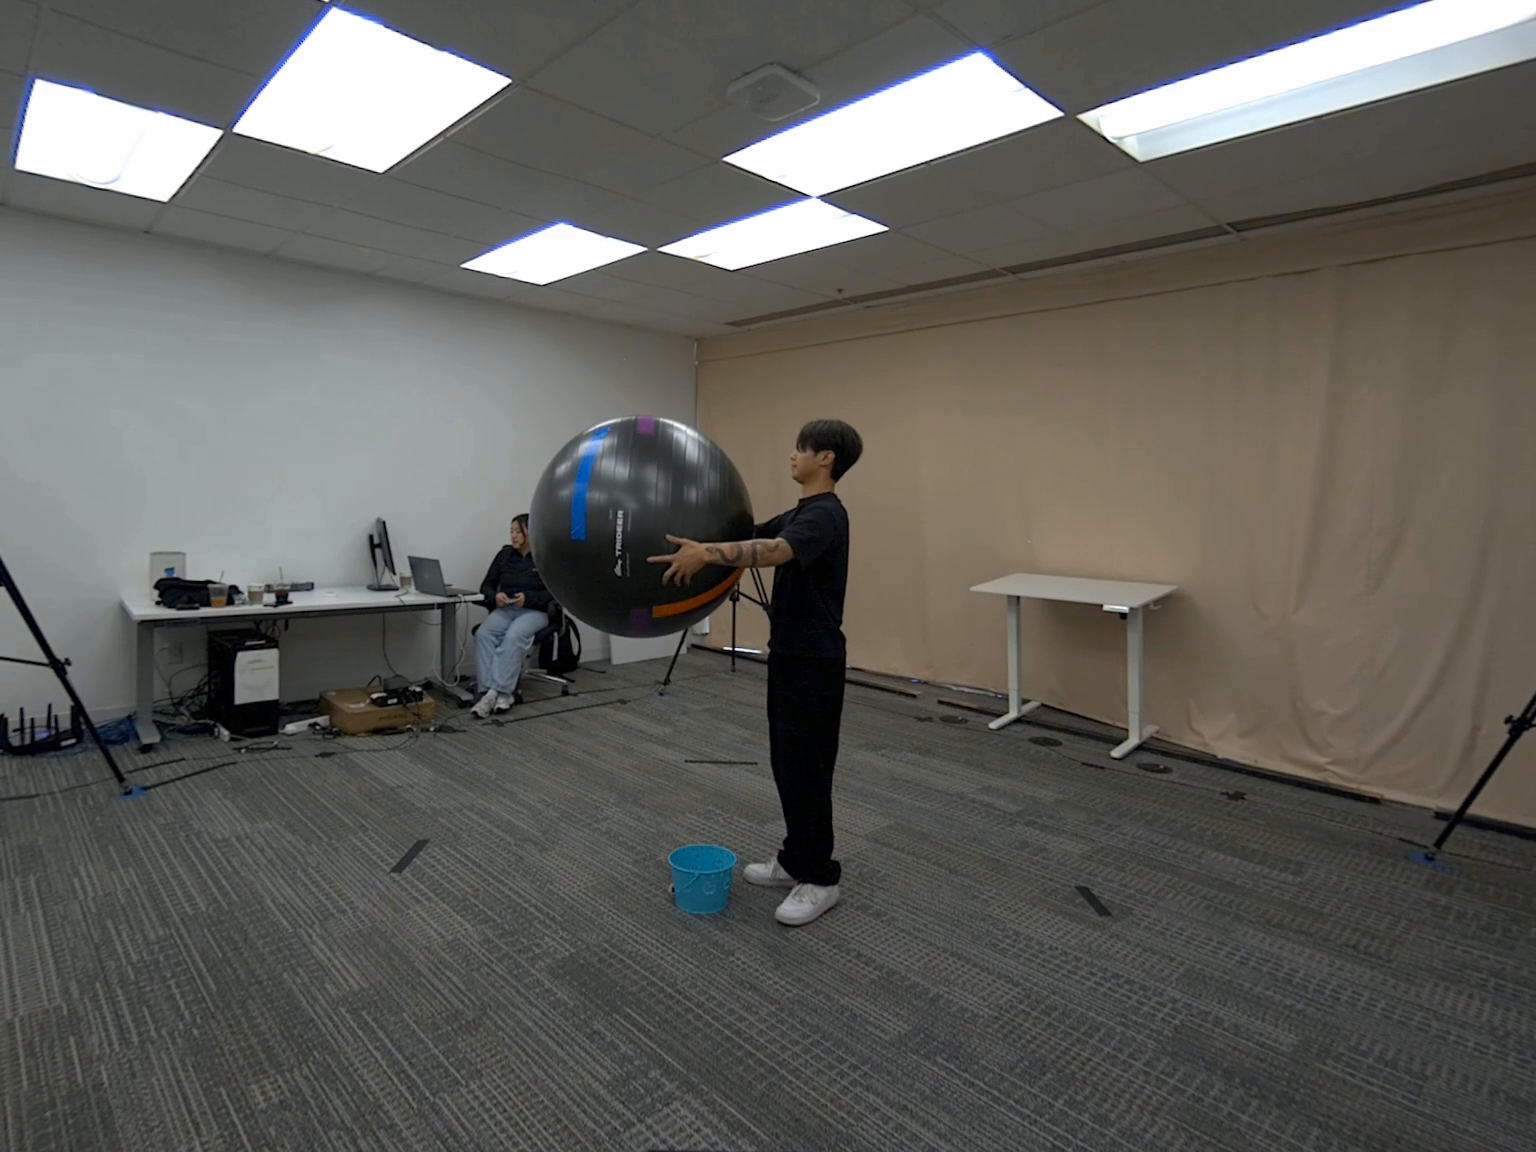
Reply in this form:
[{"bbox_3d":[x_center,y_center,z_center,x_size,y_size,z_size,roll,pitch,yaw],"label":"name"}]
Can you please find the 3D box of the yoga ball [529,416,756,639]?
[{"bbox_3d":[-0.438,-0.162,2.887,0.757,0.756,0.761,1,4,-1],"label":"yoga ball"}]
